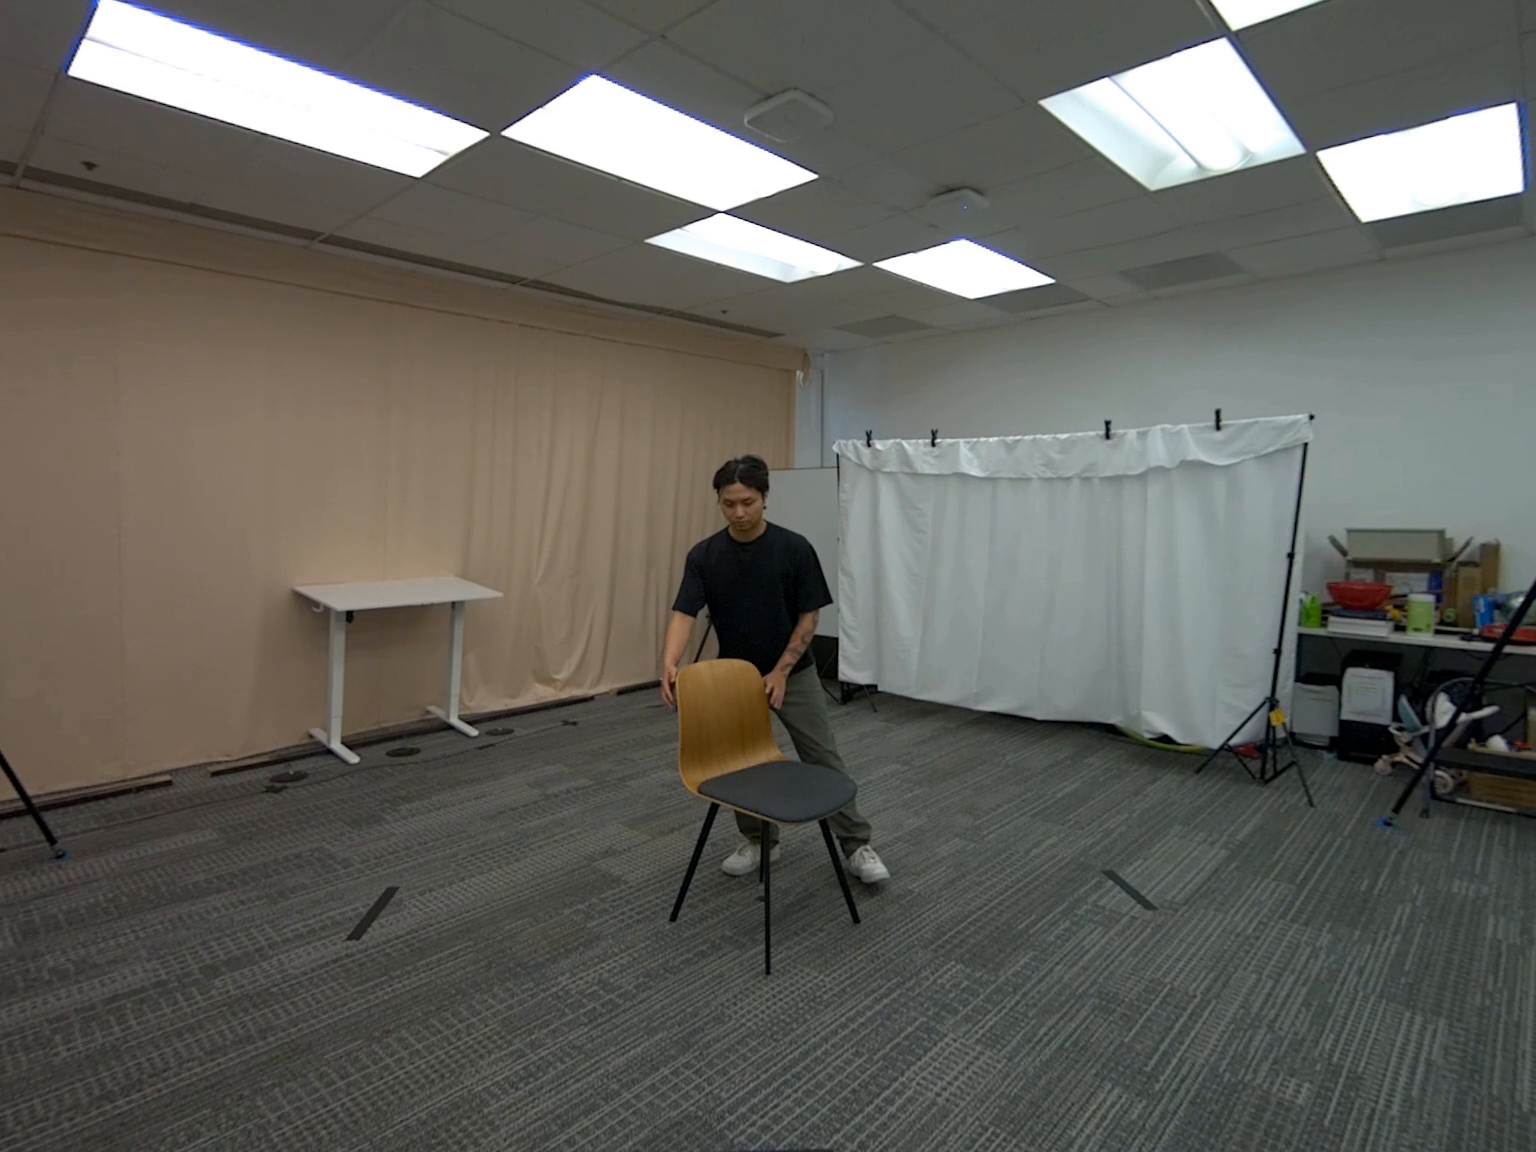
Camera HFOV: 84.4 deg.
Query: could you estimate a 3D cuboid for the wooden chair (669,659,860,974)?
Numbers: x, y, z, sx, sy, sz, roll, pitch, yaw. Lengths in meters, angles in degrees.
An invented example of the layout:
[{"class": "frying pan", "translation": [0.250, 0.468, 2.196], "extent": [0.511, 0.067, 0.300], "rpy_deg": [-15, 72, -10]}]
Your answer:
[{"class": "wooden chair", "translation": [-0.009, 0.732, 2.776], "extent": [0.539, 0.877, 0.463], "rpy_deg": [-3, 0, 45]}]
